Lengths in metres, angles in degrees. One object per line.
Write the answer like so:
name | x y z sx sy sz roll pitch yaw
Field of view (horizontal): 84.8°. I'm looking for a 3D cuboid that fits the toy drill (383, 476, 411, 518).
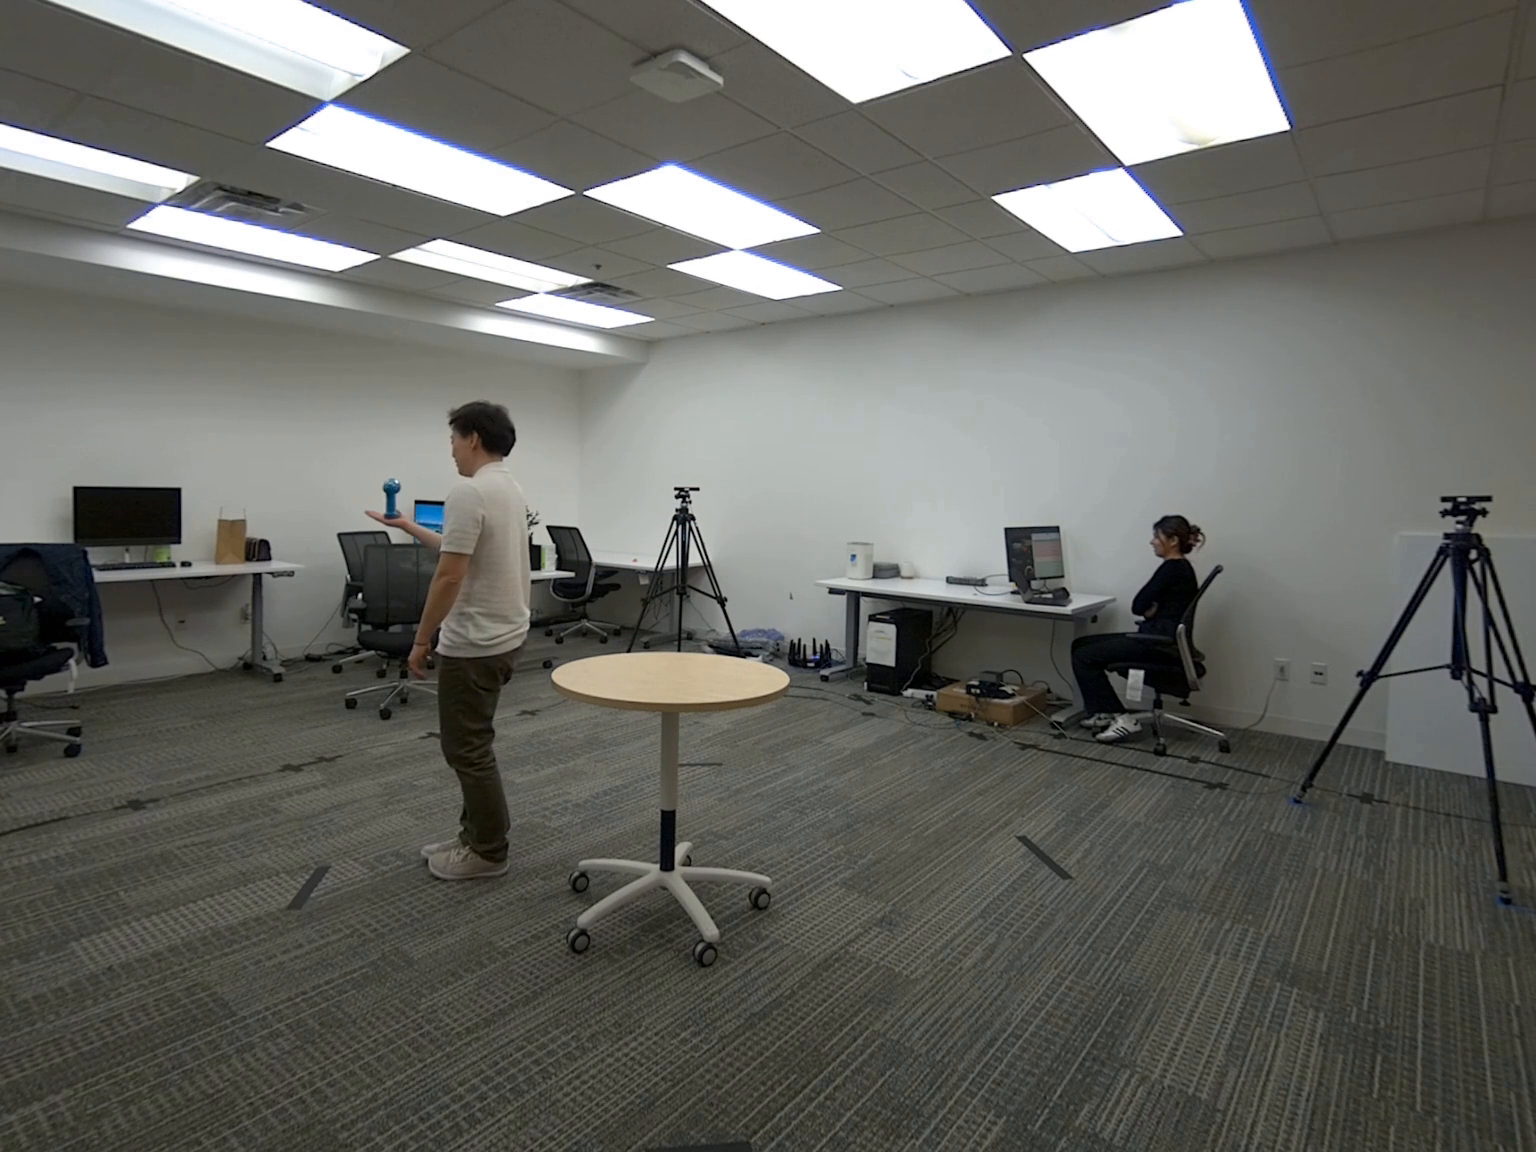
toy drill | -1.405 -0.295 3.181 0.060 0.145 0.173 2 10 -13
